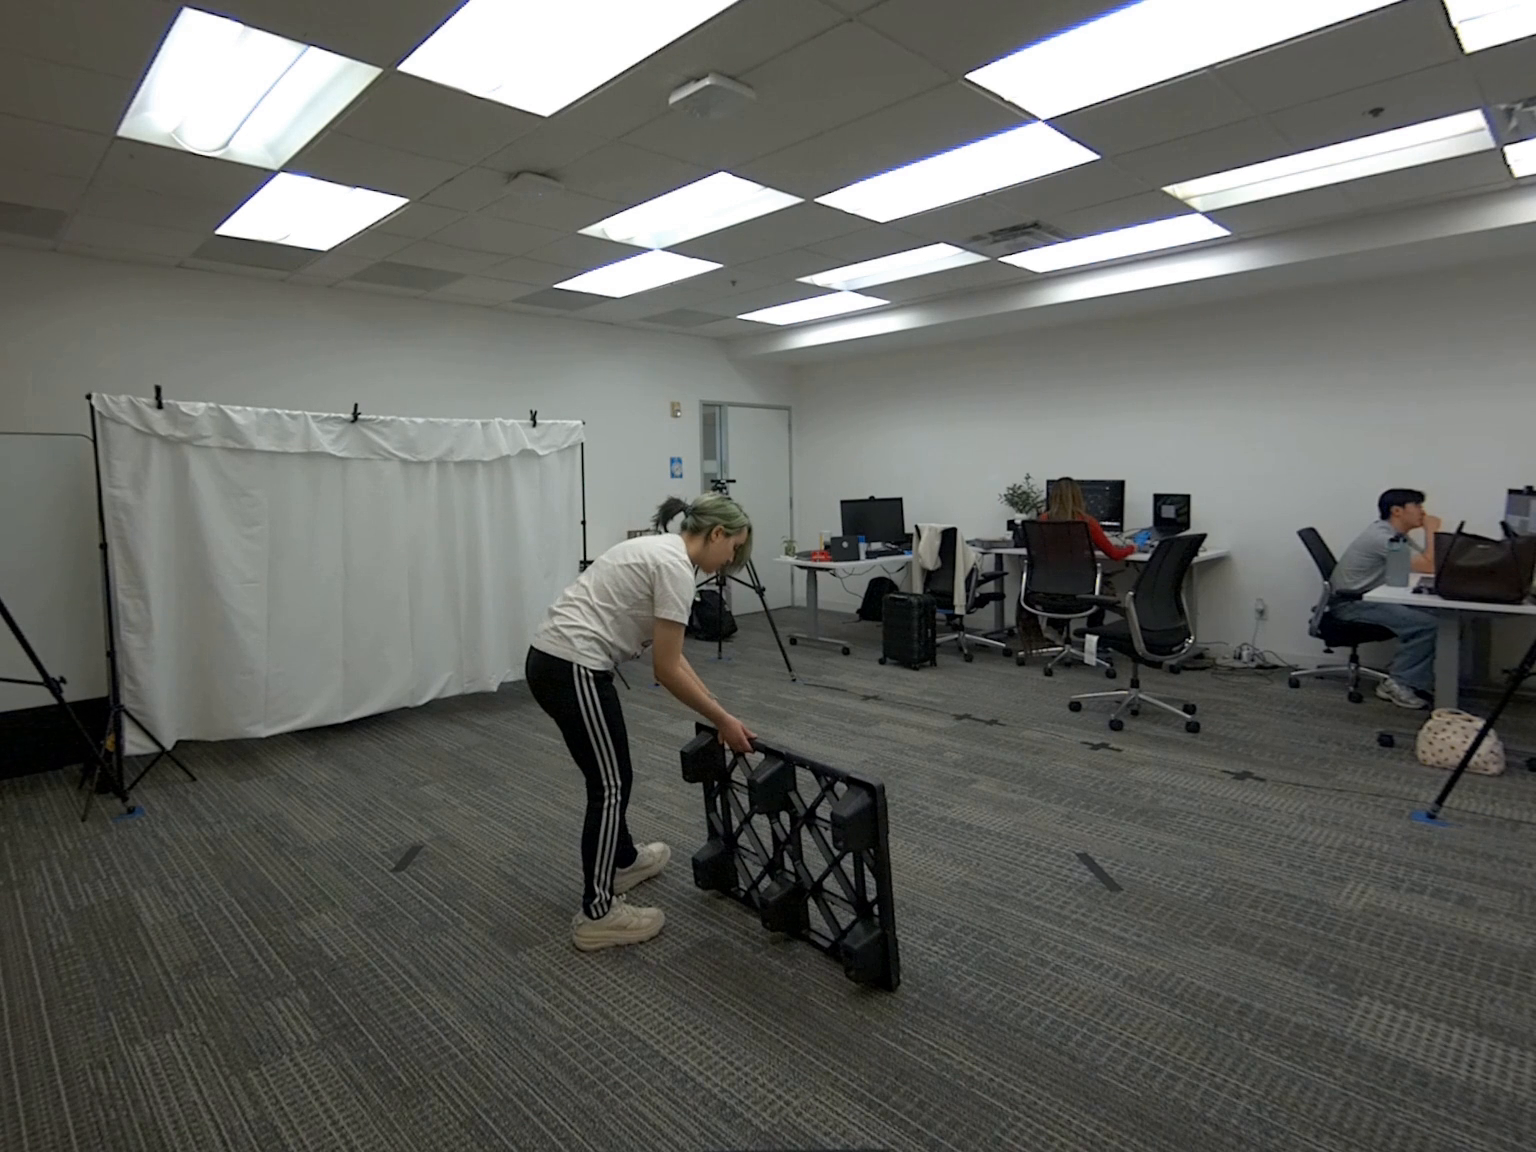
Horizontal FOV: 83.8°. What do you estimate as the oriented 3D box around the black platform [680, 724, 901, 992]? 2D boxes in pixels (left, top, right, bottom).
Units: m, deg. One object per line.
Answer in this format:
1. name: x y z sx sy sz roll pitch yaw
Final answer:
1. black platform: 0.023 0.816 2.570 0.140 0.601 0.830 -11 10 -39
